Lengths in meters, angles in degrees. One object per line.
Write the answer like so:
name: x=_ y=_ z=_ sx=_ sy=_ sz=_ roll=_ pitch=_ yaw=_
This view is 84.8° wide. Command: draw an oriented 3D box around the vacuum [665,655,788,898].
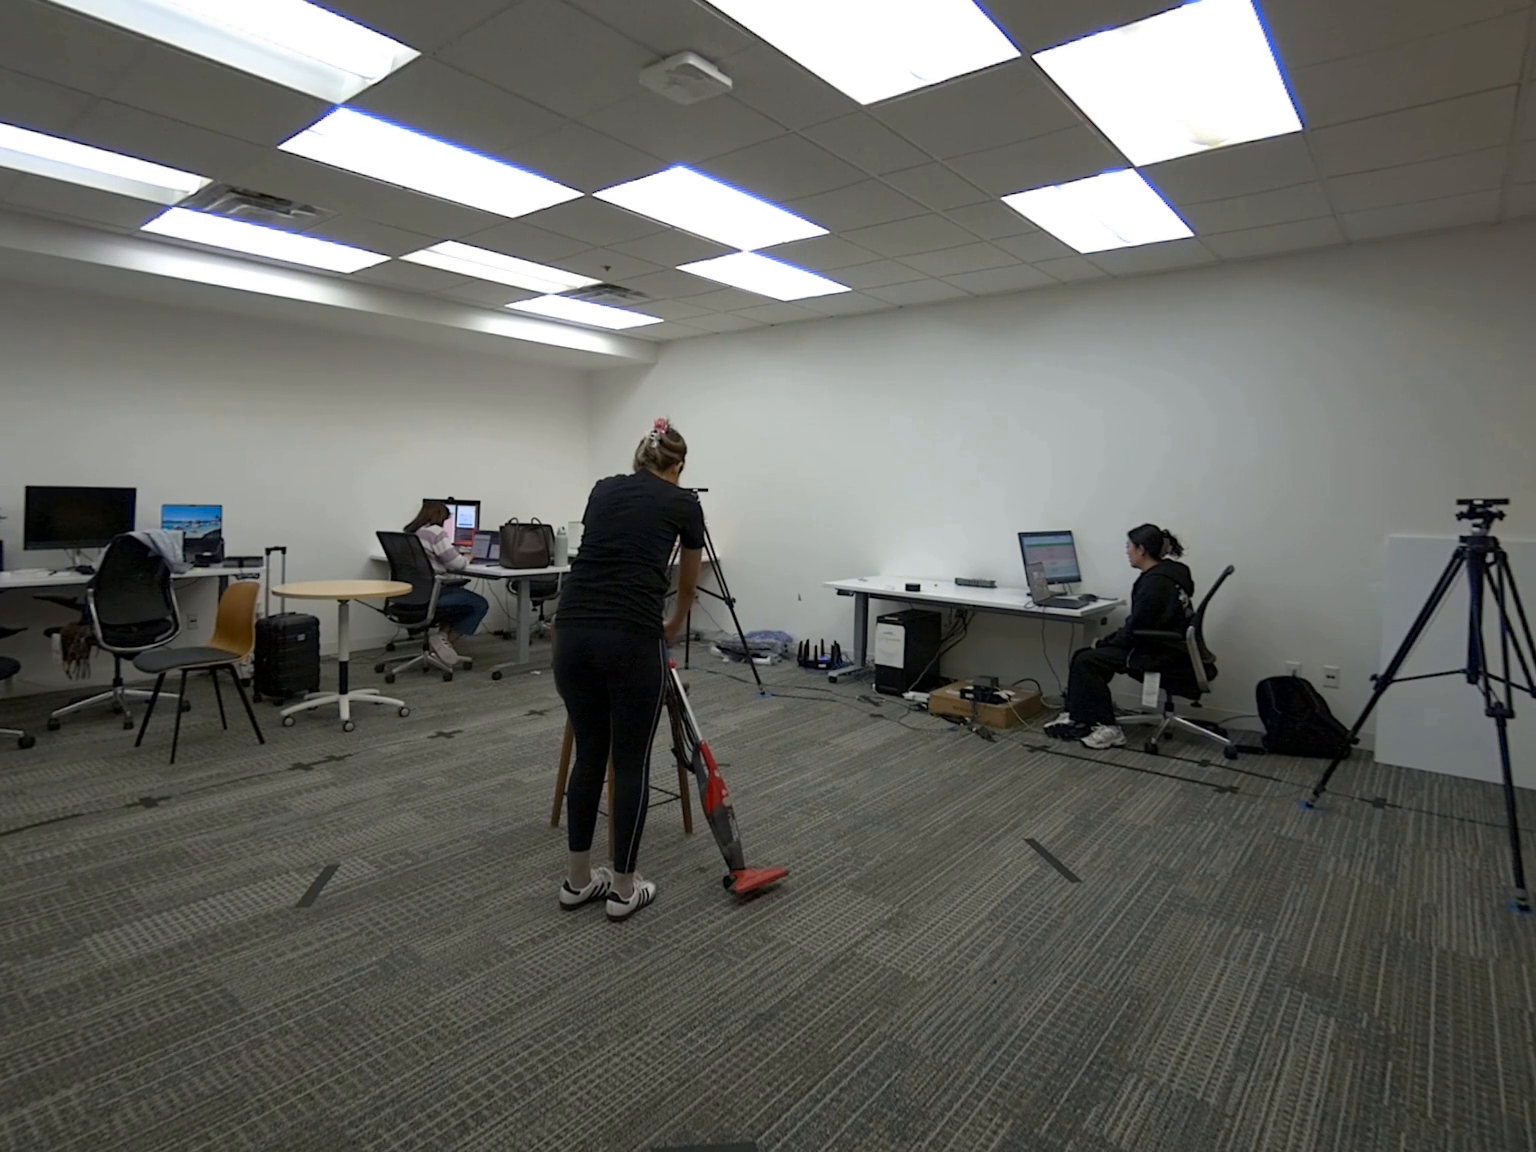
vacuum: x=-0.276 y=0.630 z=3.169 sx=0.244 sy=1.082 sz=0.144 roll=4 pitch=-39 yaw=-49
